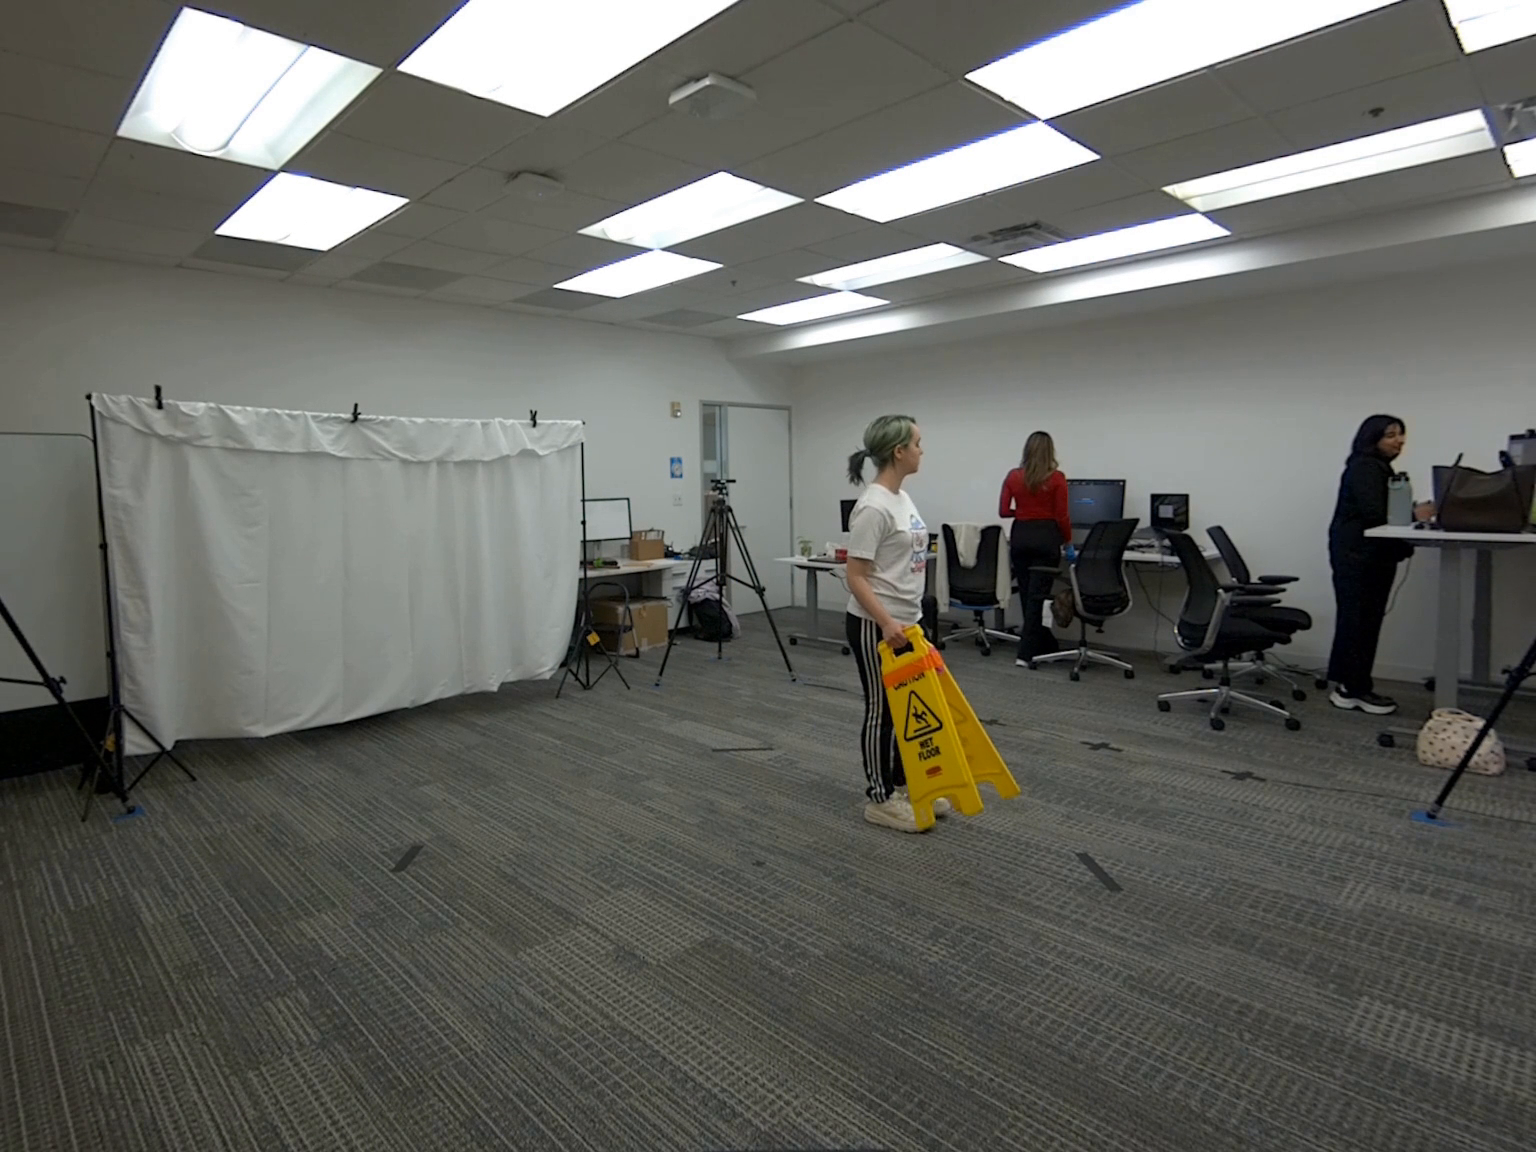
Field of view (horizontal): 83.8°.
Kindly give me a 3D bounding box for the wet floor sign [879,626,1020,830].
[{"bbox_3d":[0.581,0.509,3.004,0.282,0.659,0.284,-3,-24,-42],"label":"wet floor sign"}]
